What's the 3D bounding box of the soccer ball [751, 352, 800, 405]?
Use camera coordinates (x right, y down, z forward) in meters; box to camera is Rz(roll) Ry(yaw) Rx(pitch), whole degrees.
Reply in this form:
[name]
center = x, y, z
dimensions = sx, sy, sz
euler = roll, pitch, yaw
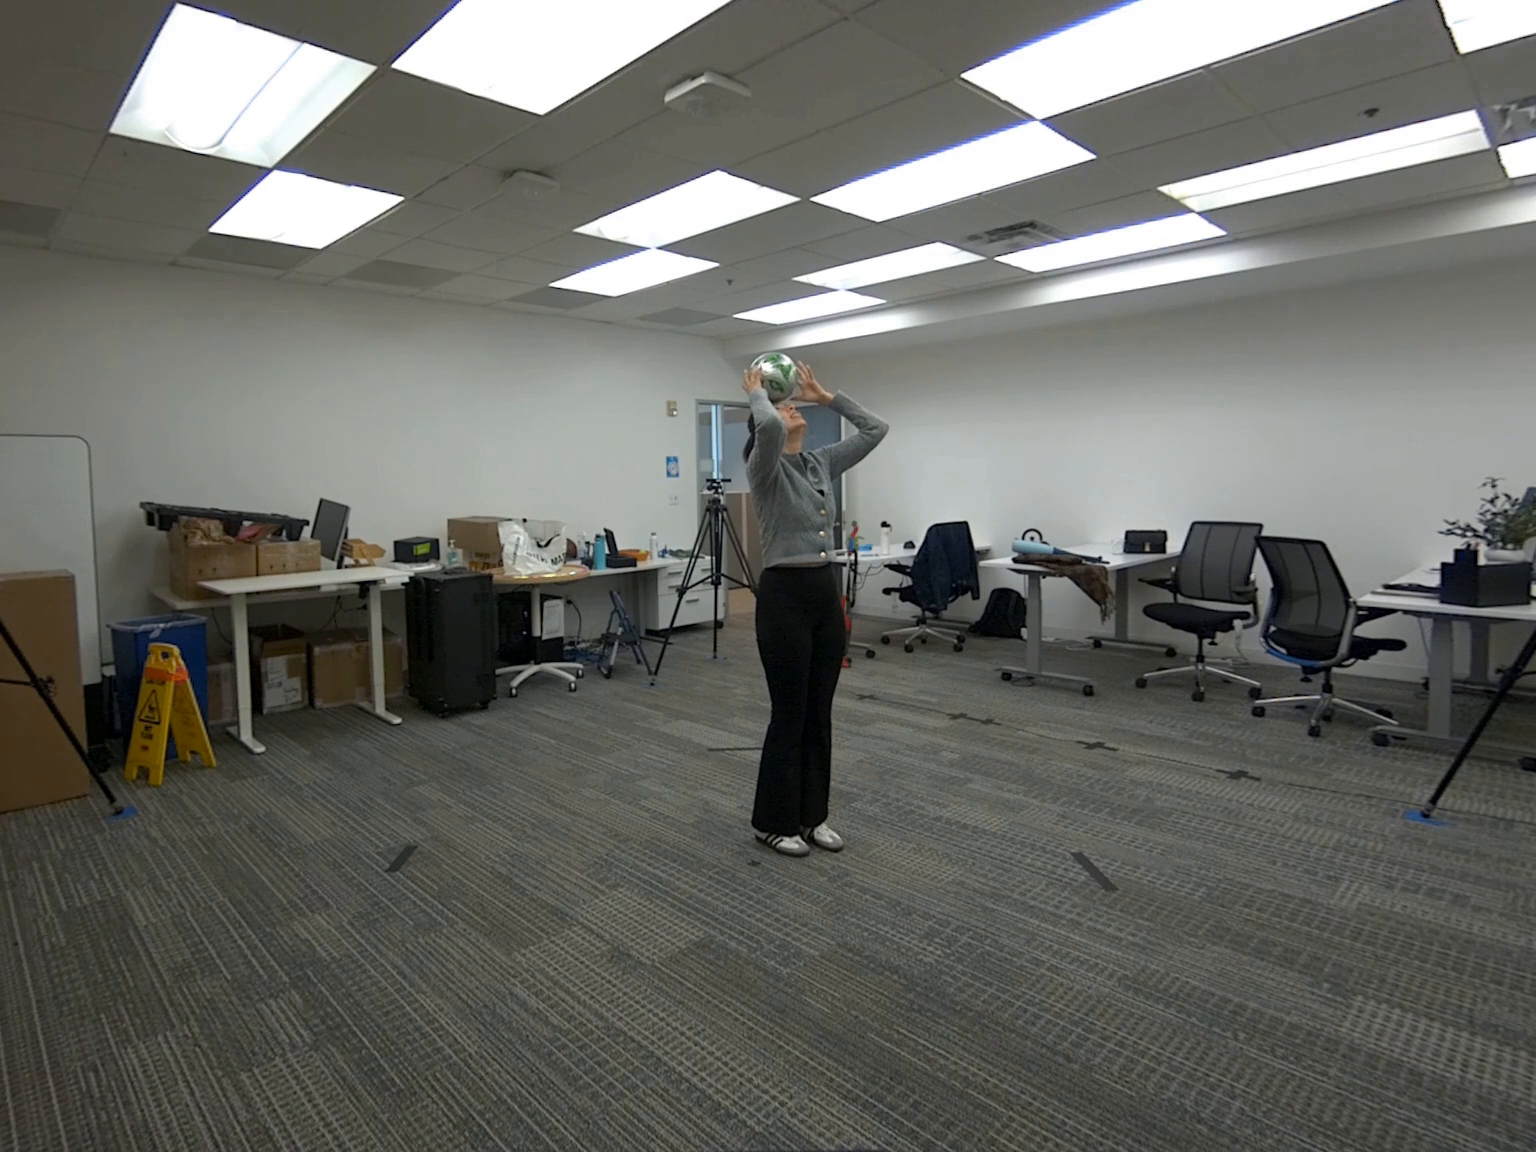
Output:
[soccer ball]
center = 0.018, -0.747, 3.232
dimensions = 0.187, 0.187, 0.188
euler = -1, 5, -2
